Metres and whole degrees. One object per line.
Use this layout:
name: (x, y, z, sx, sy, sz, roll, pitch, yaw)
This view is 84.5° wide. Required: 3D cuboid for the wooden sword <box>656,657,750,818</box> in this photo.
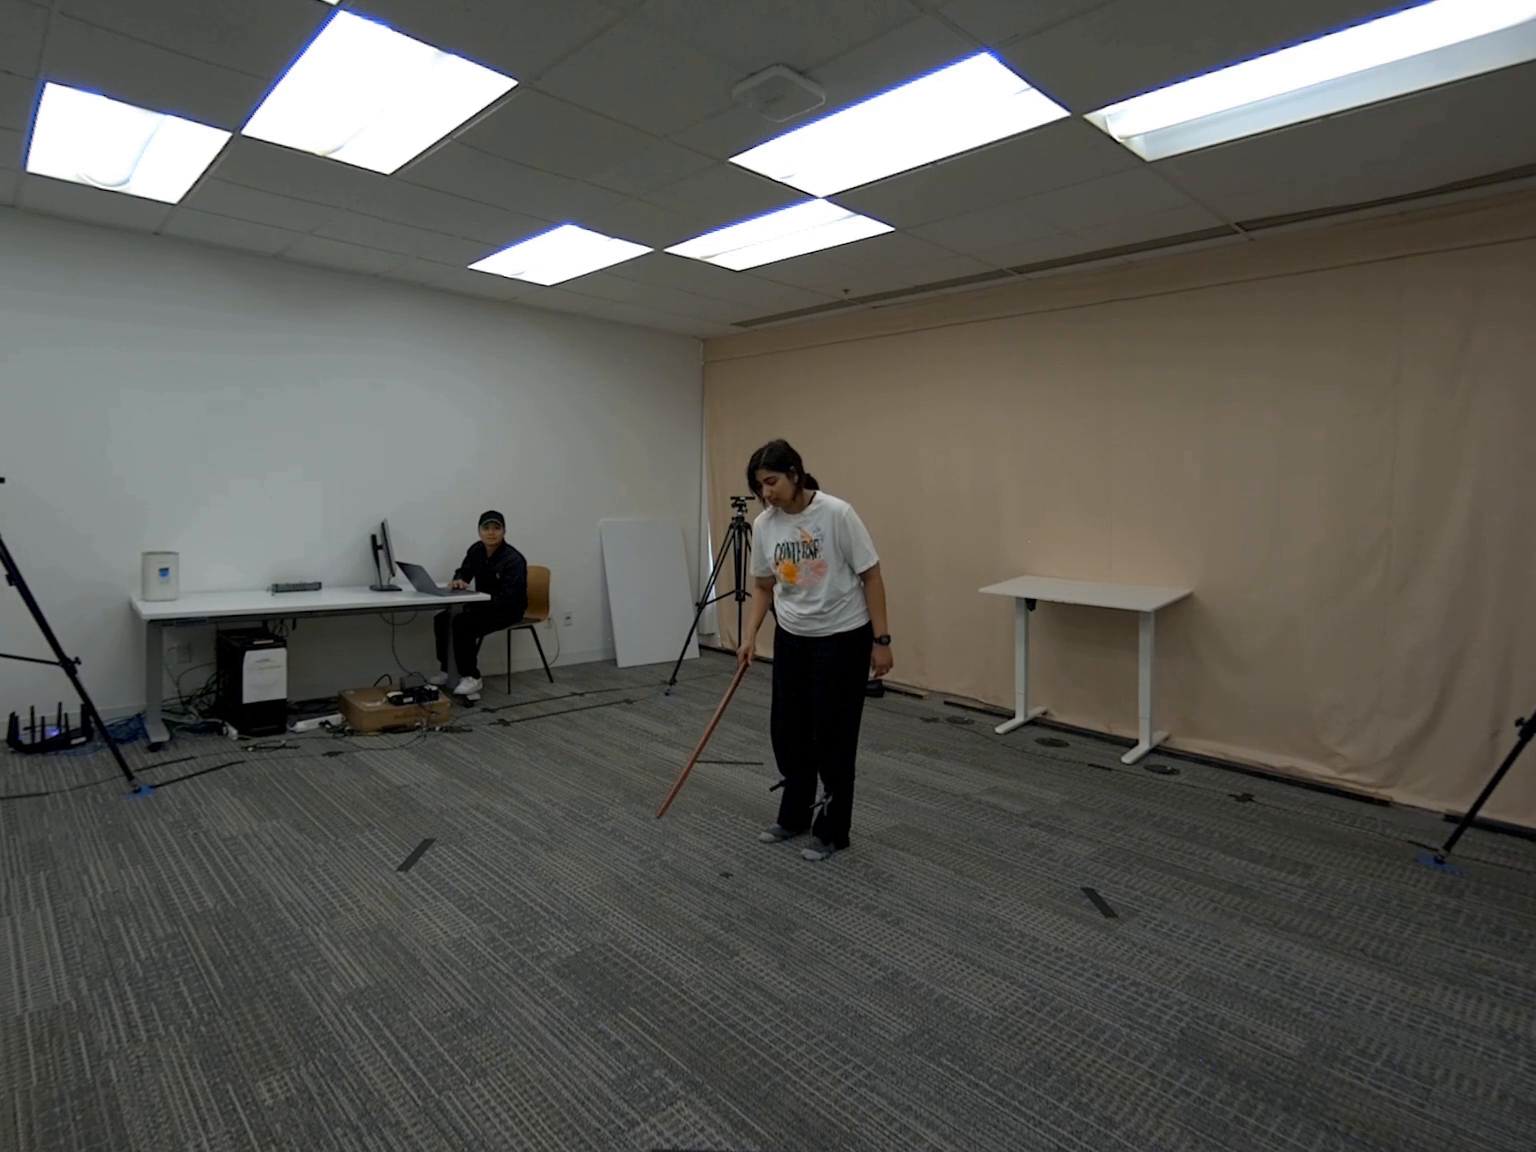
wooden sword: (-0.220, 0.523, 2.934, 0.024, 0.050, 1.029, -6, 22, 18)
